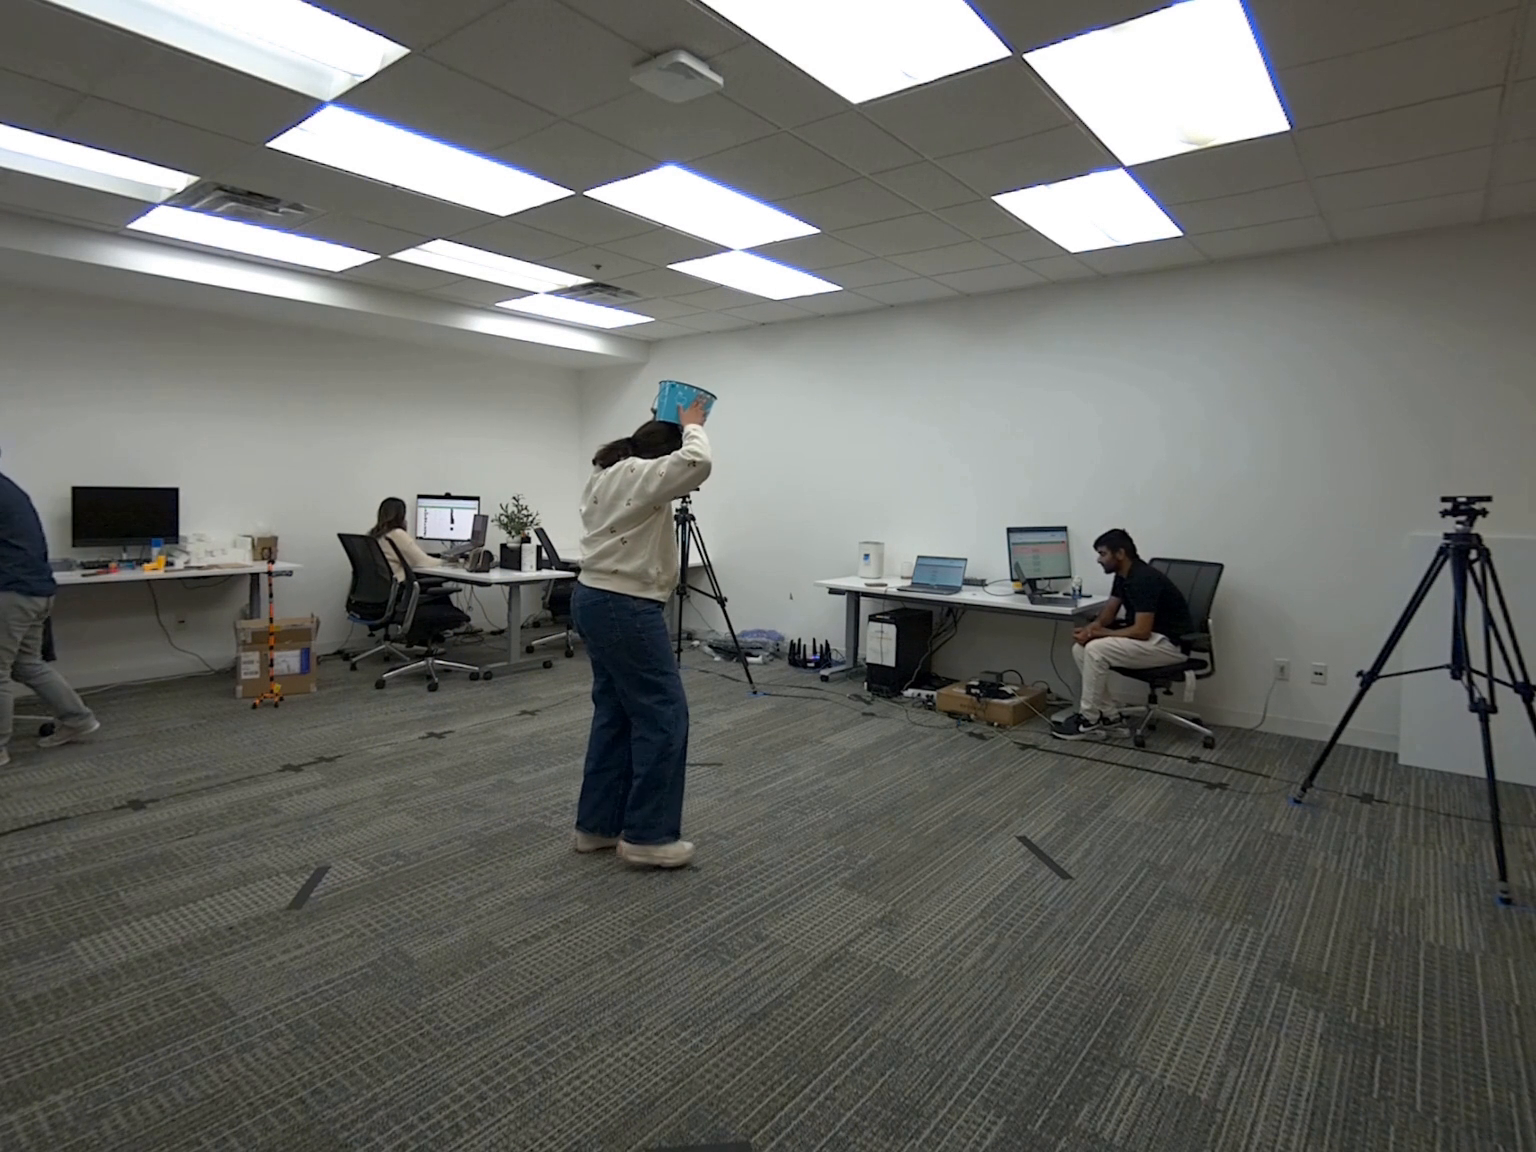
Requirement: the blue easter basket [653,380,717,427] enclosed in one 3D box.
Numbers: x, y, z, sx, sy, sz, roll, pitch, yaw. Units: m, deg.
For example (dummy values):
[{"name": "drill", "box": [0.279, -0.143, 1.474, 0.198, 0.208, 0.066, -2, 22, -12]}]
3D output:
[{"name": "blue easter basket", "box": [-0.339, -0.650, 3.292, 0.244, 0.156, 0.243, 17, -2, -1]}]
